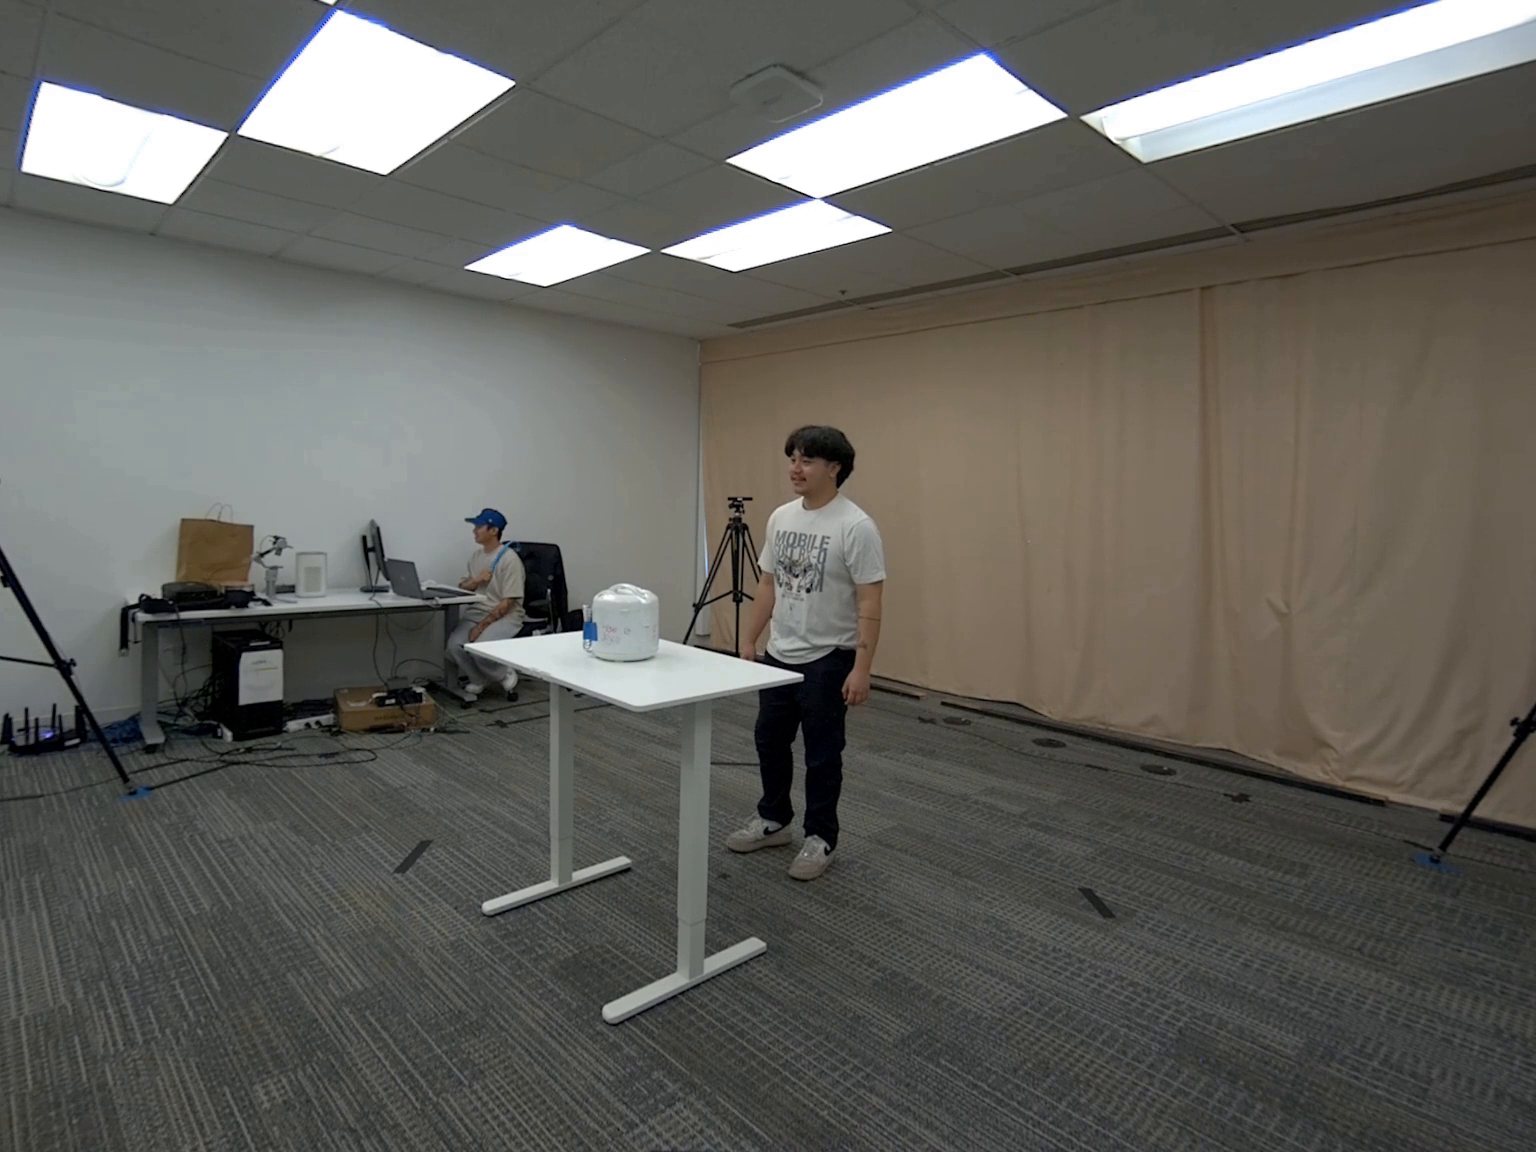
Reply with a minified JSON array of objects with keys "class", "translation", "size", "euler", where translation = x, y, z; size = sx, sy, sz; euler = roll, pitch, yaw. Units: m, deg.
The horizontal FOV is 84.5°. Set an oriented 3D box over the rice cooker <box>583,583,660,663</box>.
[{"class":"rice cooker","translation":[-0.460,0.143,2.658],"size":[0.212,0.232,0.226],"euler":[-4,8,-45]}]
